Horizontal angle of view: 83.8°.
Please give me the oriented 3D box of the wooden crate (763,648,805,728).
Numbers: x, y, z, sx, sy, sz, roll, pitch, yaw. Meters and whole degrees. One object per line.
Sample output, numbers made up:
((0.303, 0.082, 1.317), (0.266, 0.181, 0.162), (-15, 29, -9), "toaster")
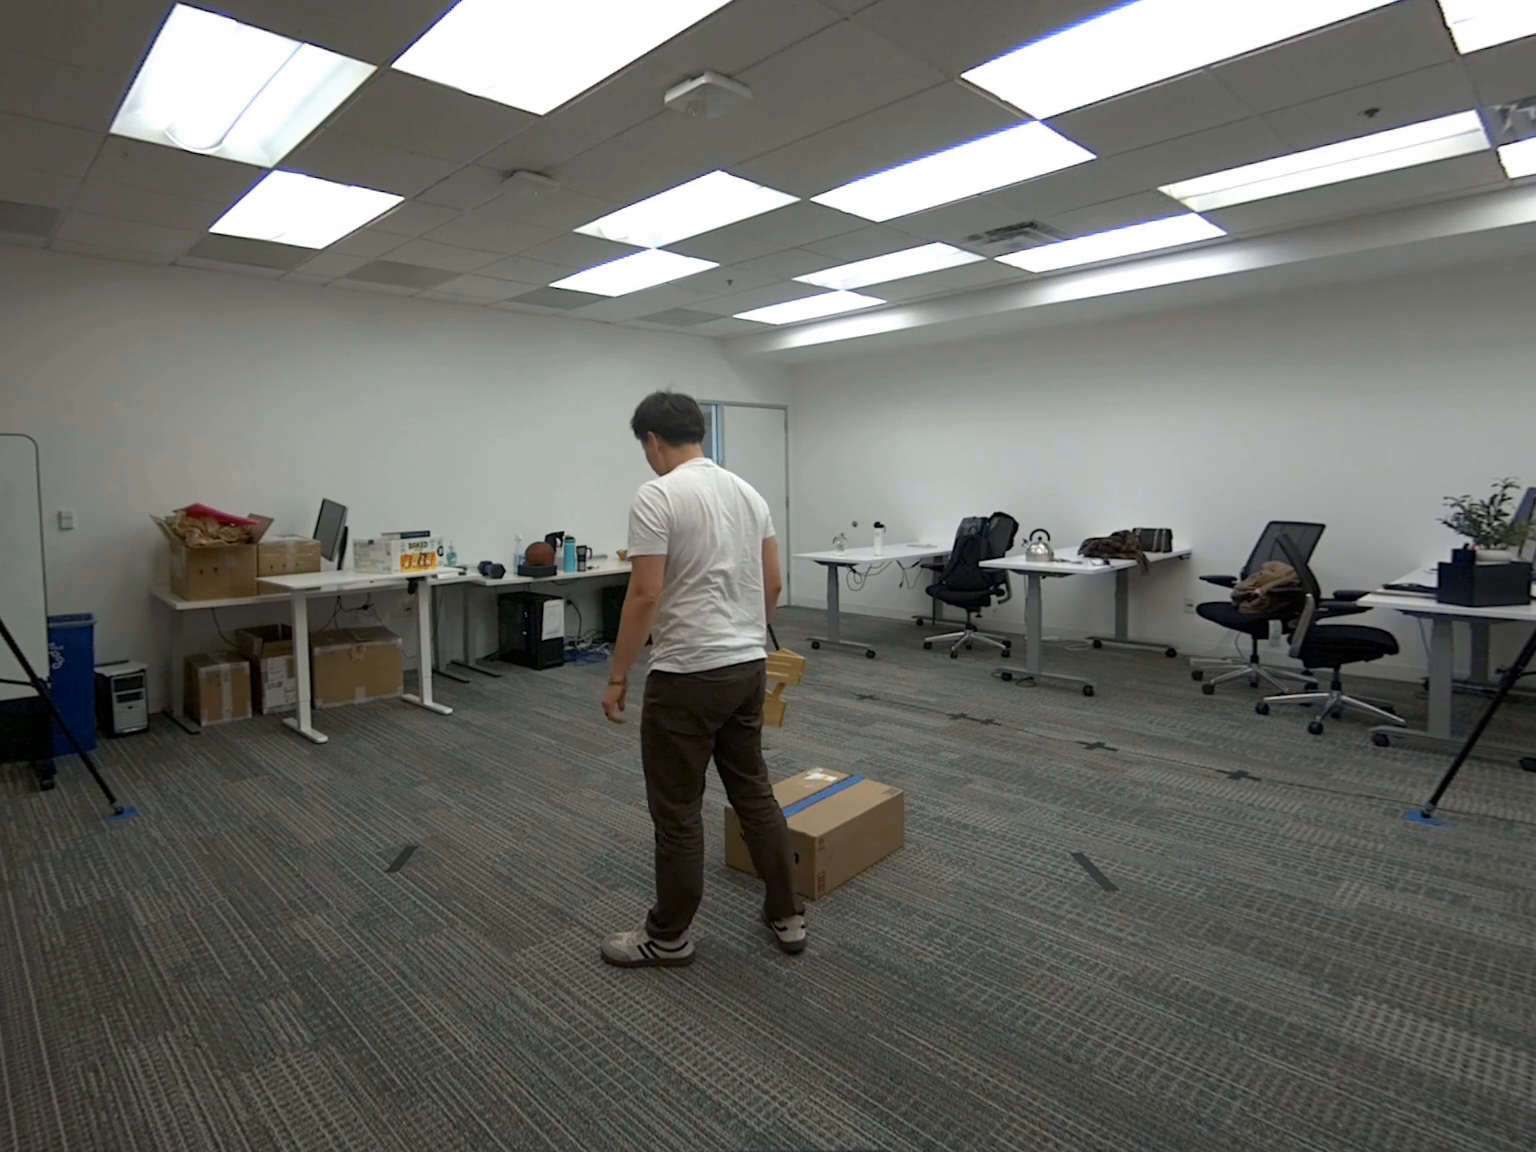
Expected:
((-0.094, 0.356, 2.998), (0.315, 0.273, 0.311), (12, 4, -29), "wooden crate")
